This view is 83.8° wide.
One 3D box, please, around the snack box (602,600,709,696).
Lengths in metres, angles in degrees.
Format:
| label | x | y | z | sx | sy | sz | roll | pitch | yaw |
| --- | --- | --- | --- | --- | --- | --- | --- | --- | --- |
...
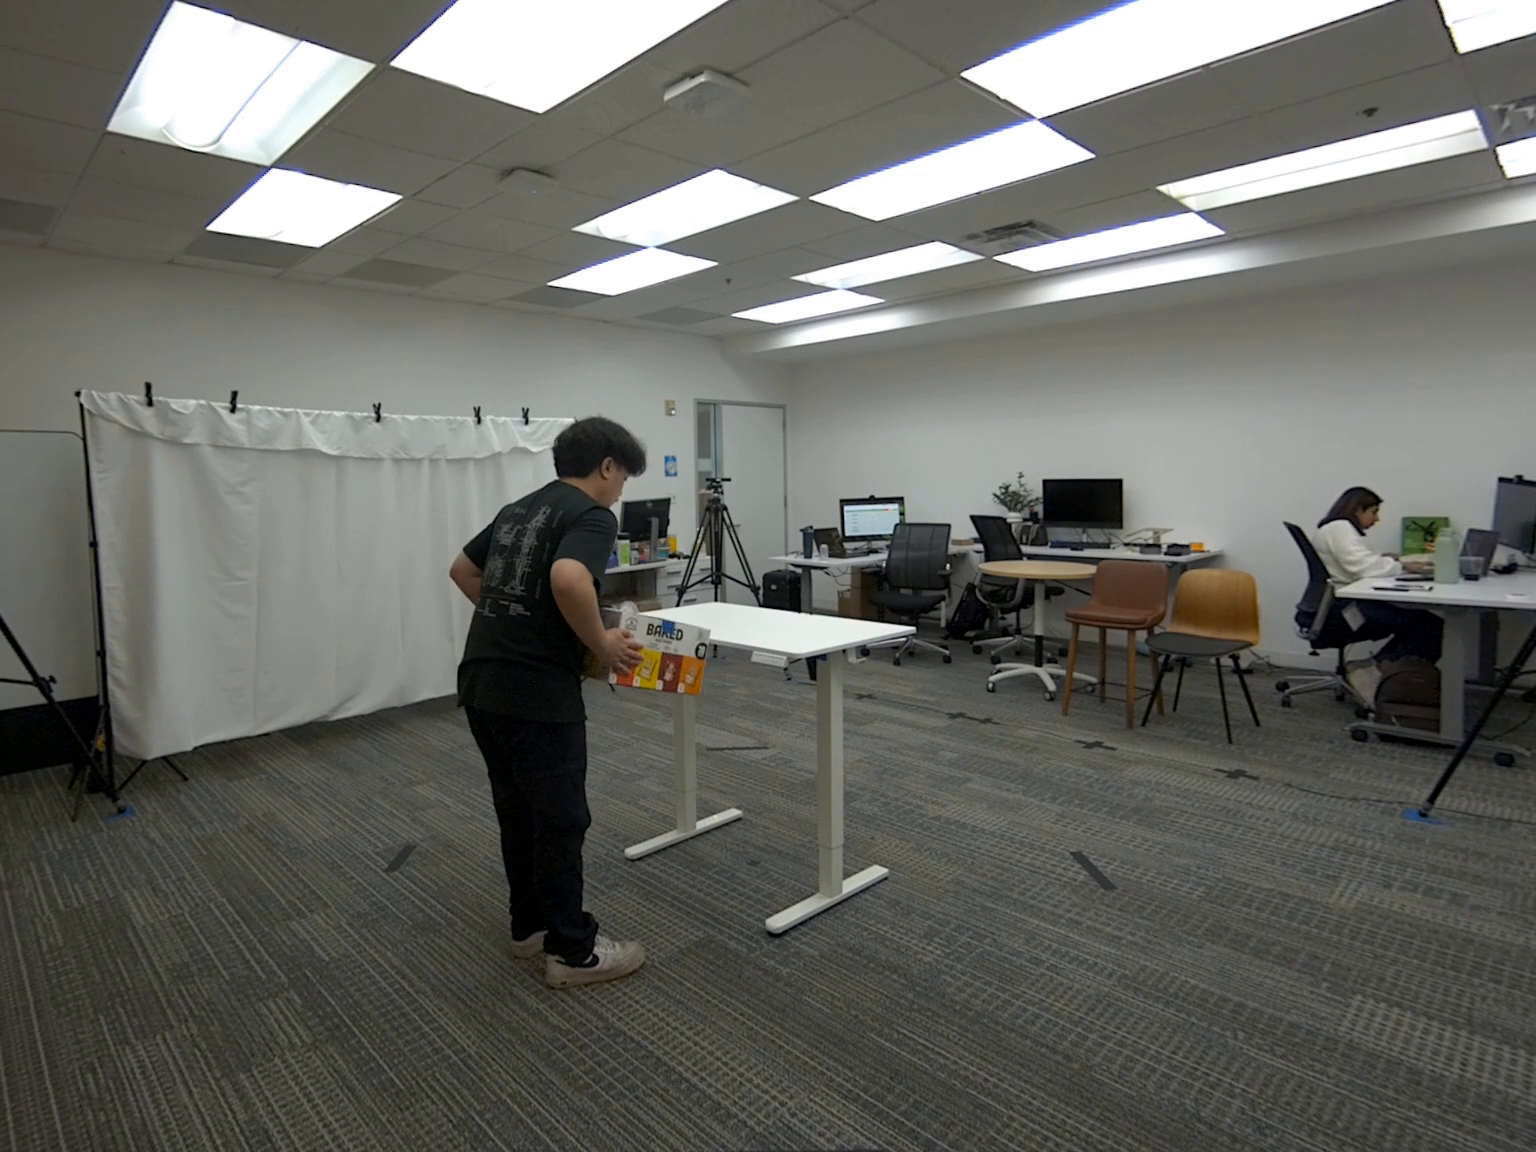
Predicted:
| label | x | y | z | sx | sy | sz | roll | pitch | yaw |
| --- | --- | --- | --- | --- | --- | --- | --- | --- | --- |
| snack box | -0.444 | 0.220 | 2.629 | 0.328 | 0.207 | 0.418 | 17 | -8 | -43 |
